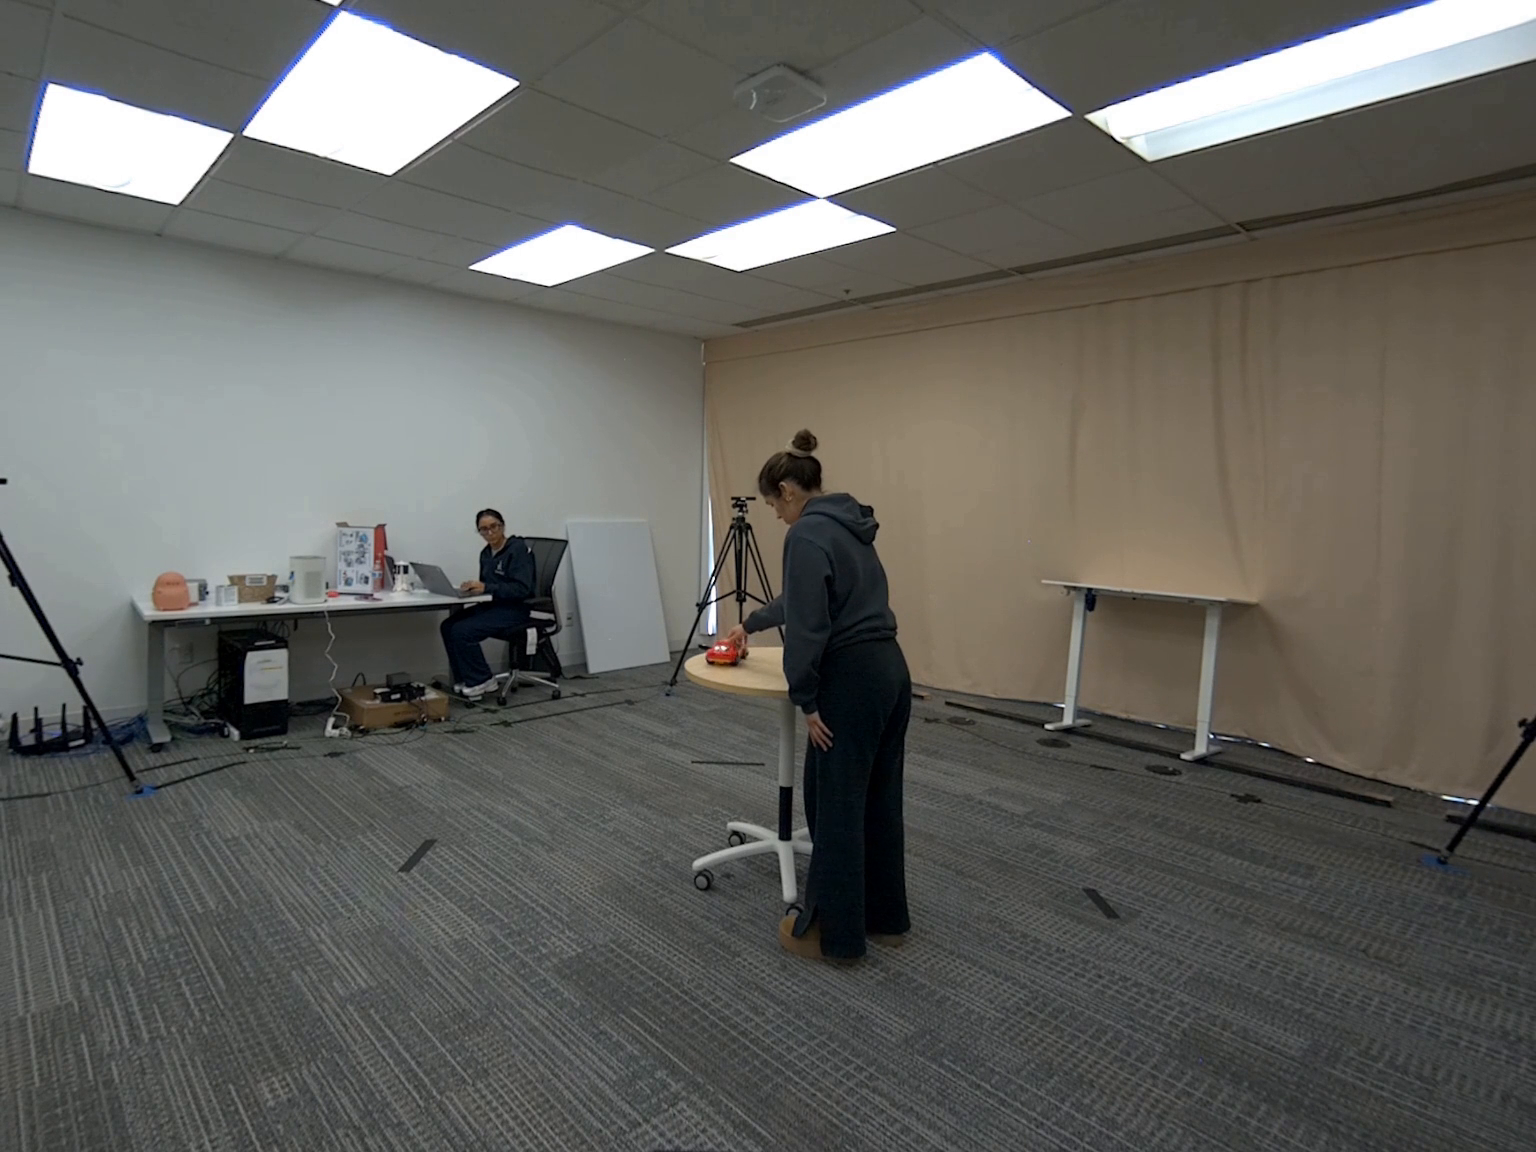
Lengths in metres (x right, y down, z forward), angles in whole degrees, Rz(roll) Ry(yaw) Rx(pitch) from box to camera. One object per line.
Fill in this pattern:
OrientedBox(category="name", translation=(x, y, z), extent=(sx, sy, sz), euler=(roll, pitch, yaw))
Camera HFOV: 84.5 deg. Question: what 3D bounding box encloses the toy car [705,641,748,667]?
OrientedBox(category="toy car", translation=(-0.163, 0.290, 3.129), extent=(0.131, 0.083, 0.251), euler=(3, -6, 11))
